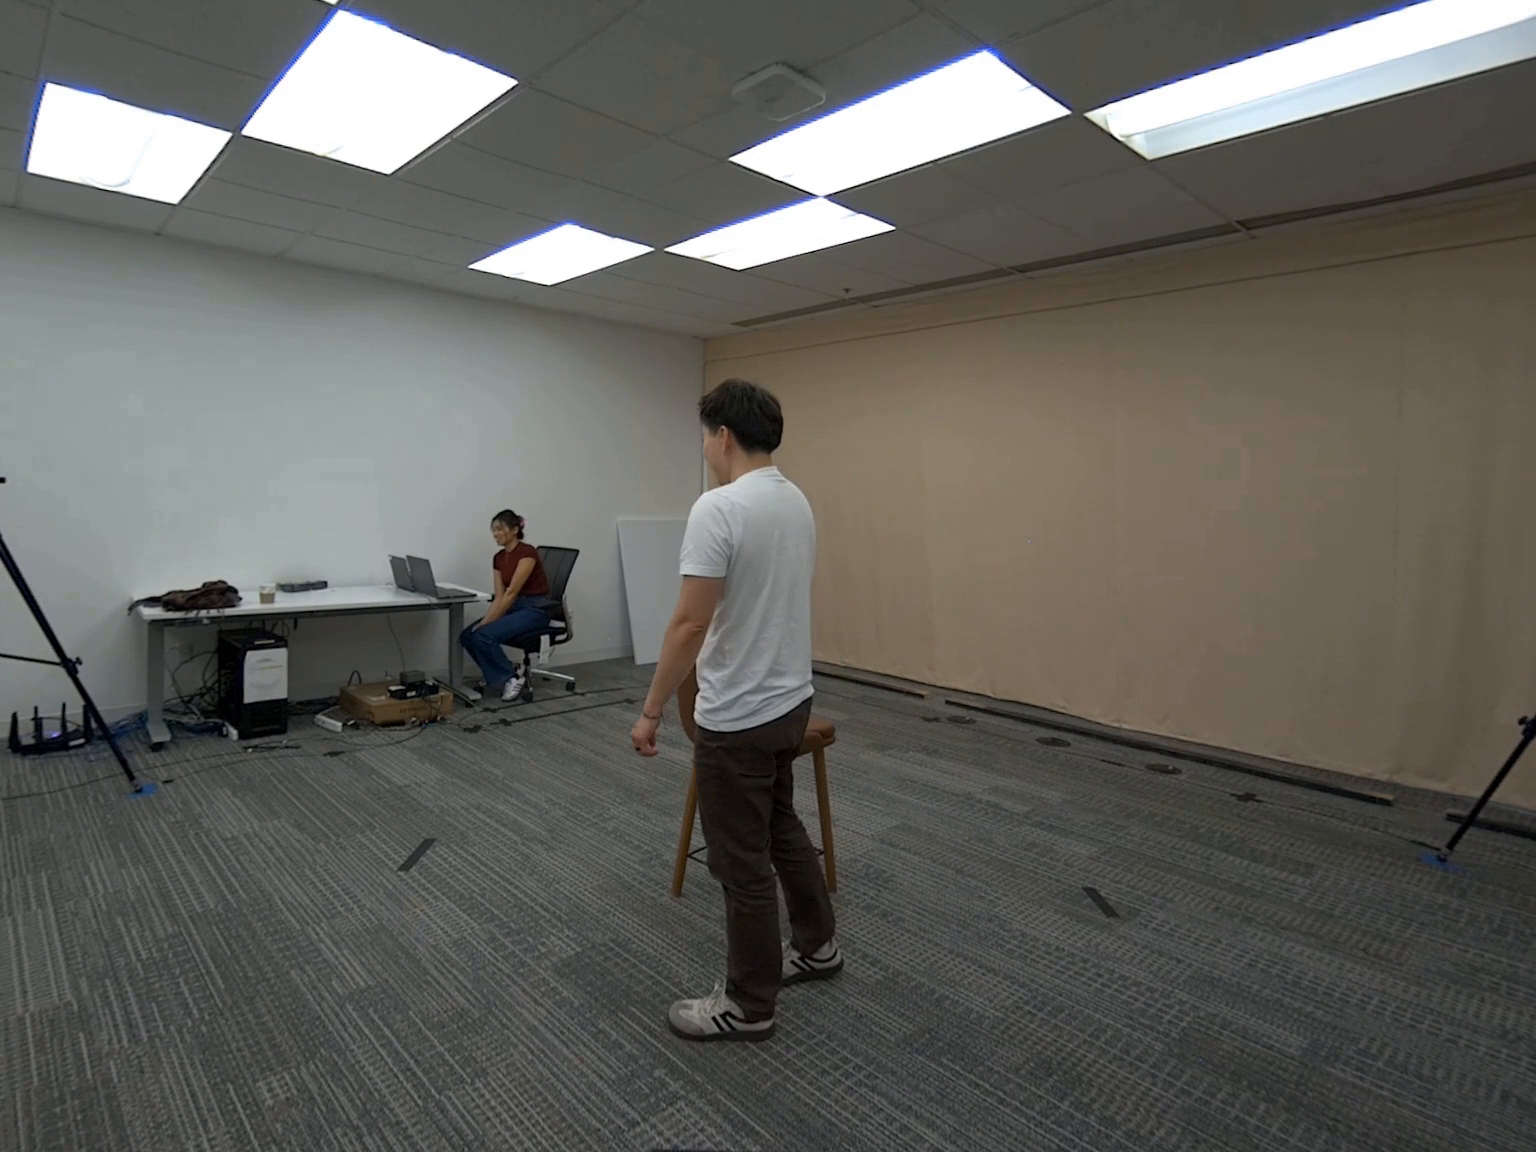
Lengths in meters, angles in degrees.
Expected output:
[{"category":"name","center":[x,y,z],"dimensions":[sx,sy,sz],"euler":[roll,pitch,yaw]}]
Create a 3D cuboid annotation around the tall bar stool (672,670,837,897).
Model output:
[{"category":"tall bar stool","center":[-0.052,0.684,2.936],"dimensions":[0.468,0.886,0.457],"euler":[4,7,42]}]
